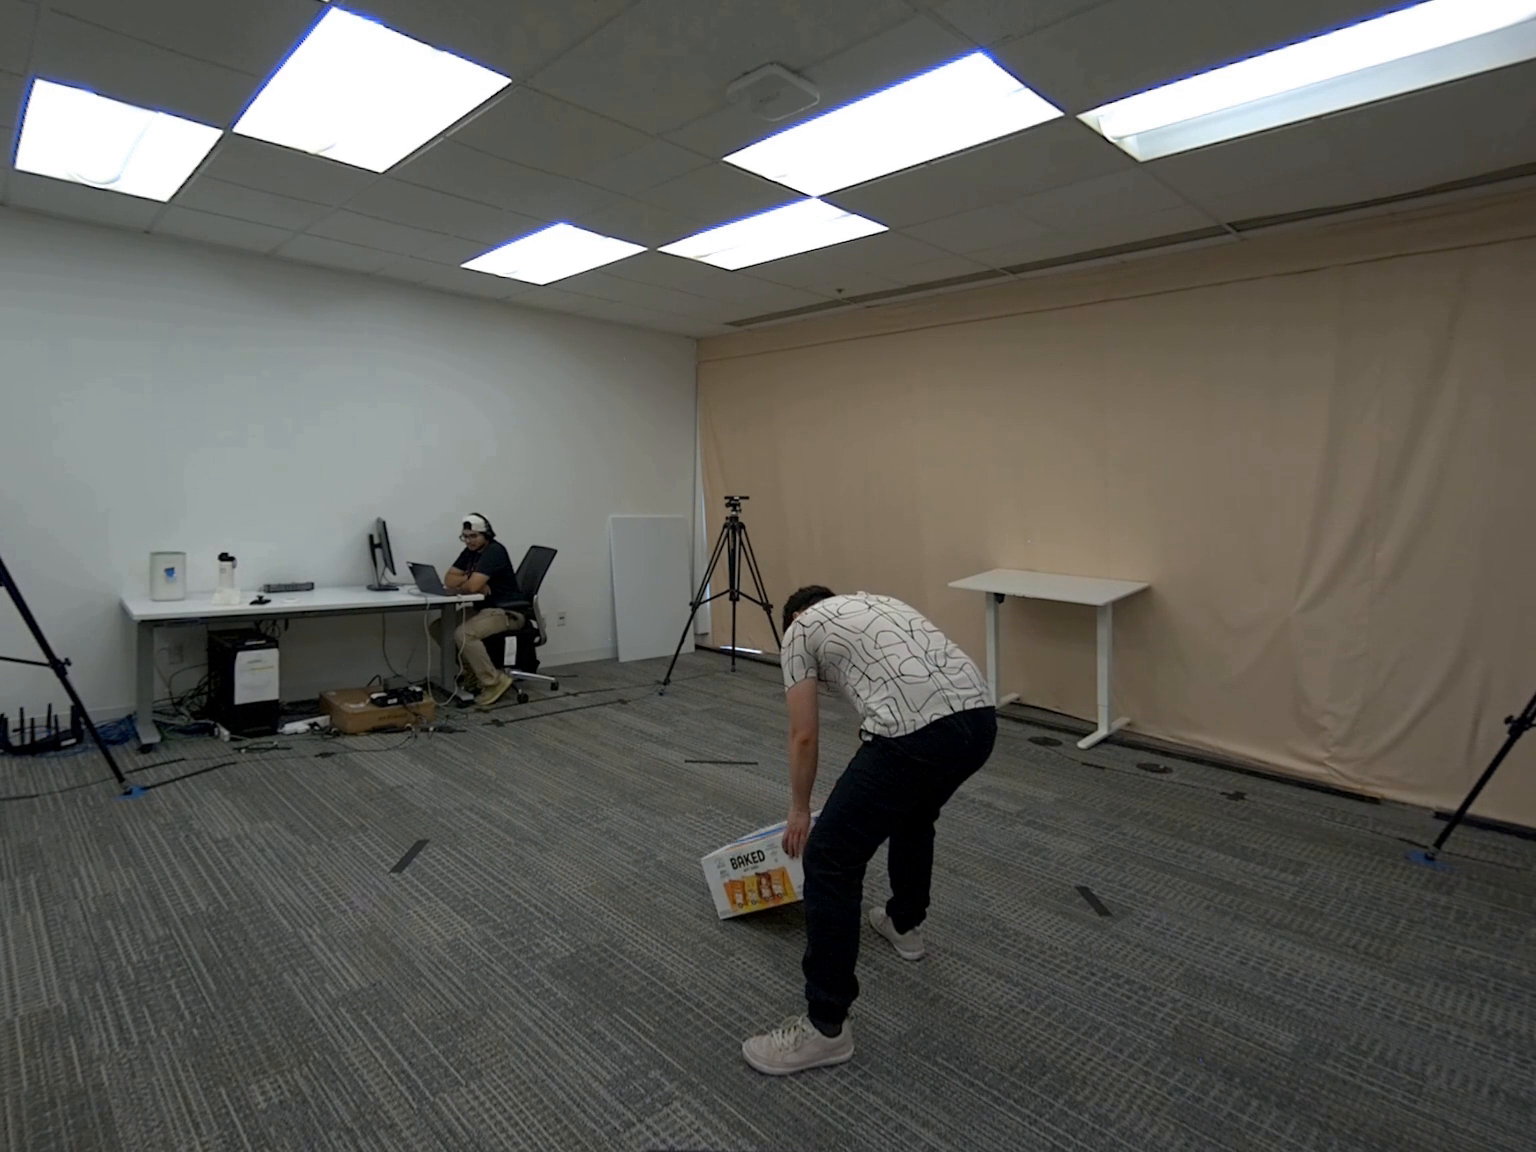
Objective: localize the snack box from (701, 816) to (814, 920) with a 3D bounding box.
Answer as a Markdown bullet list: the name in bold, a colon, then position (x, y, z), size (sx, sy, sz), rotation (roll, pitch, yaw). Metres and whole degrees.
- **snack box**: position (0.054, 0.954, 2.813), size (0.409, 0.208, 0.333), rotation (-29, -15, 35)
